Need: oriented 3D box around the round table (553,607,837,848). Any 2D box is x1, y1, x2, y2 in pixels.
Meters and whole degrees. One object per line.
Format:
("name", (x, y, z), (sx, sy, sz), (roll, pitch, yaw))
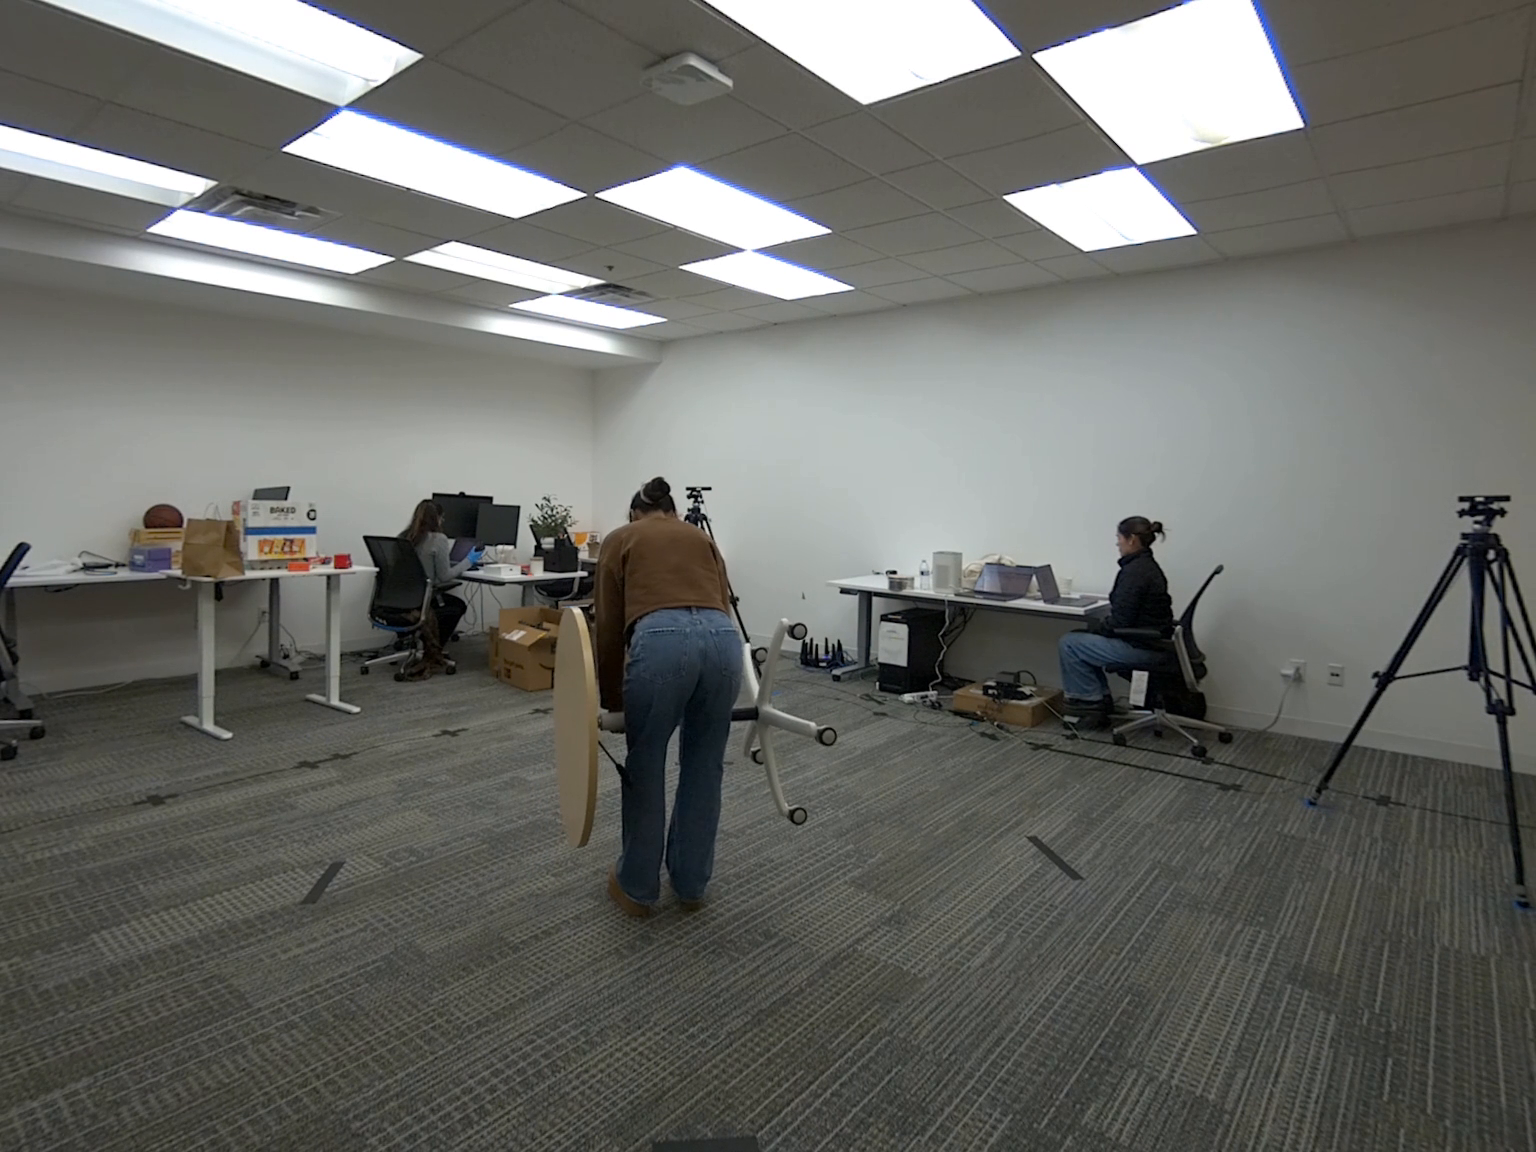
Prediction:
("round table", (-0.291, 0.492, 2.909), (0.778, 0.762, 0.782), (1, 4, -20))
